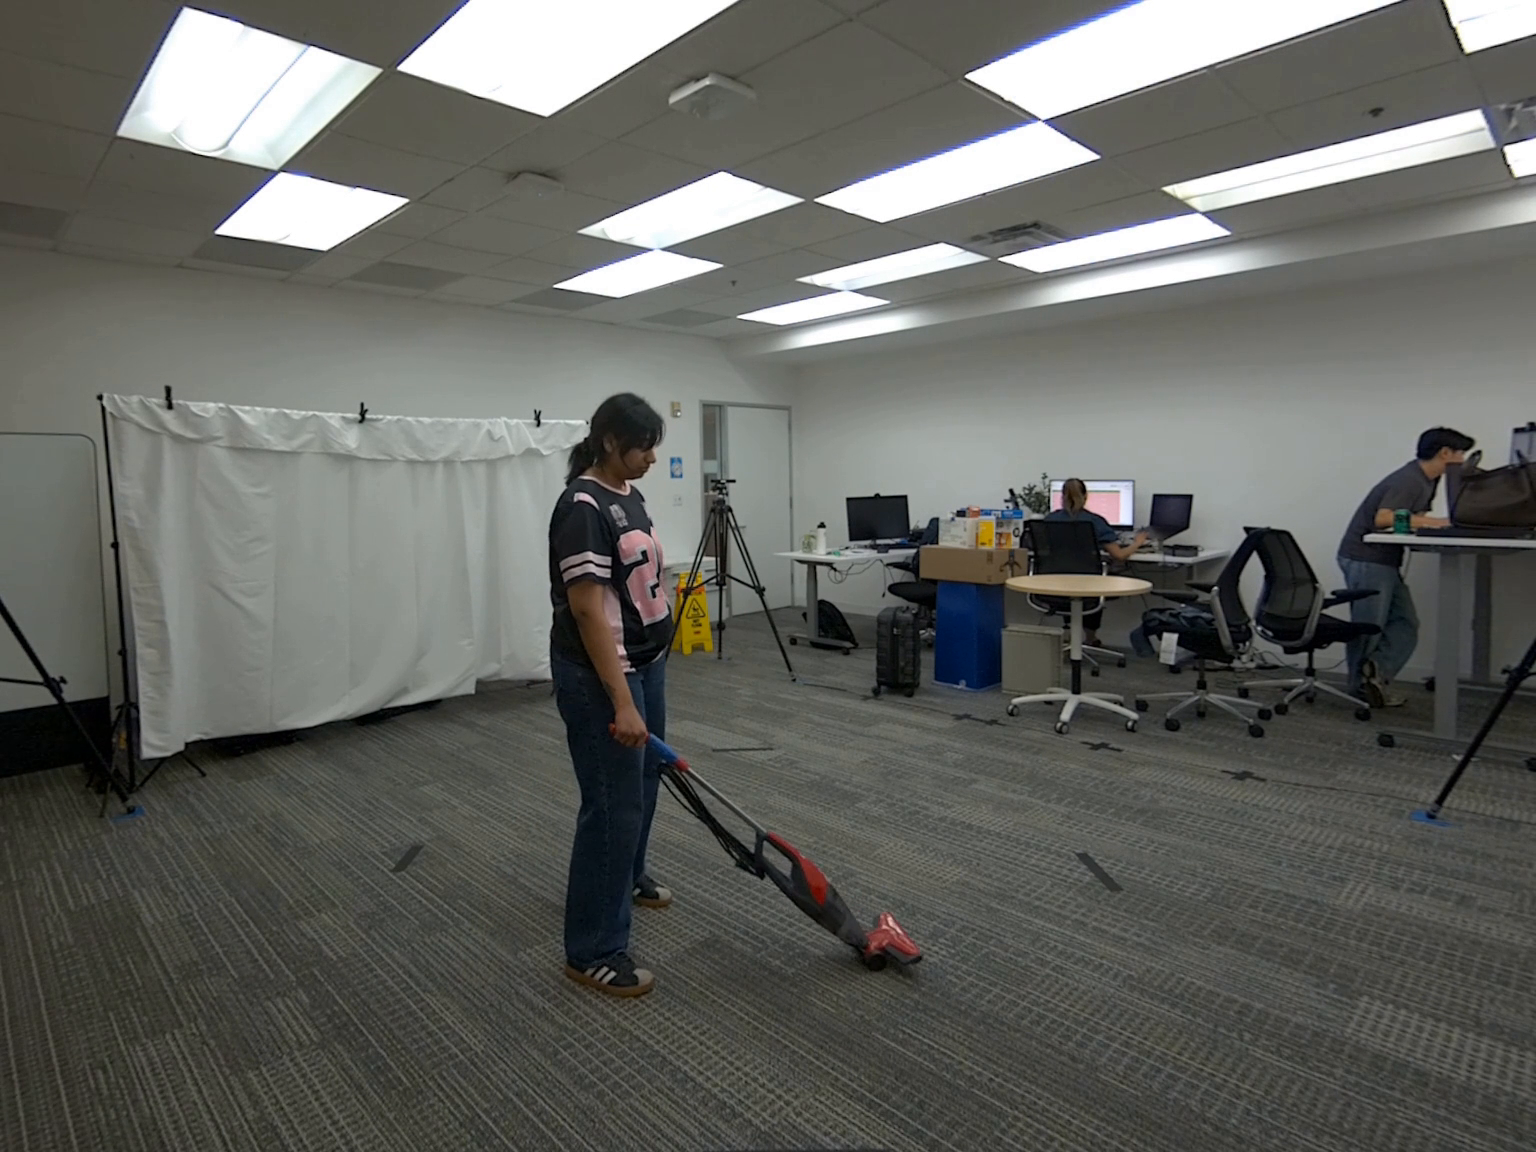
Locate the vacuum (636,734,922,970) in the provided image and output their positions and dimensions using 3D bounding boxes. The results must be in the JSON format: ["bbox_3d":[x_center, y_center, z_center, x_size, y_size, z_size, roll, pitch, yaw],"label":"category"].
[{"bbox_3d":[-0.038,0.749,2.399,1.035,0.144,0.256,41,-7,-10],"label":"vacuum"}]
